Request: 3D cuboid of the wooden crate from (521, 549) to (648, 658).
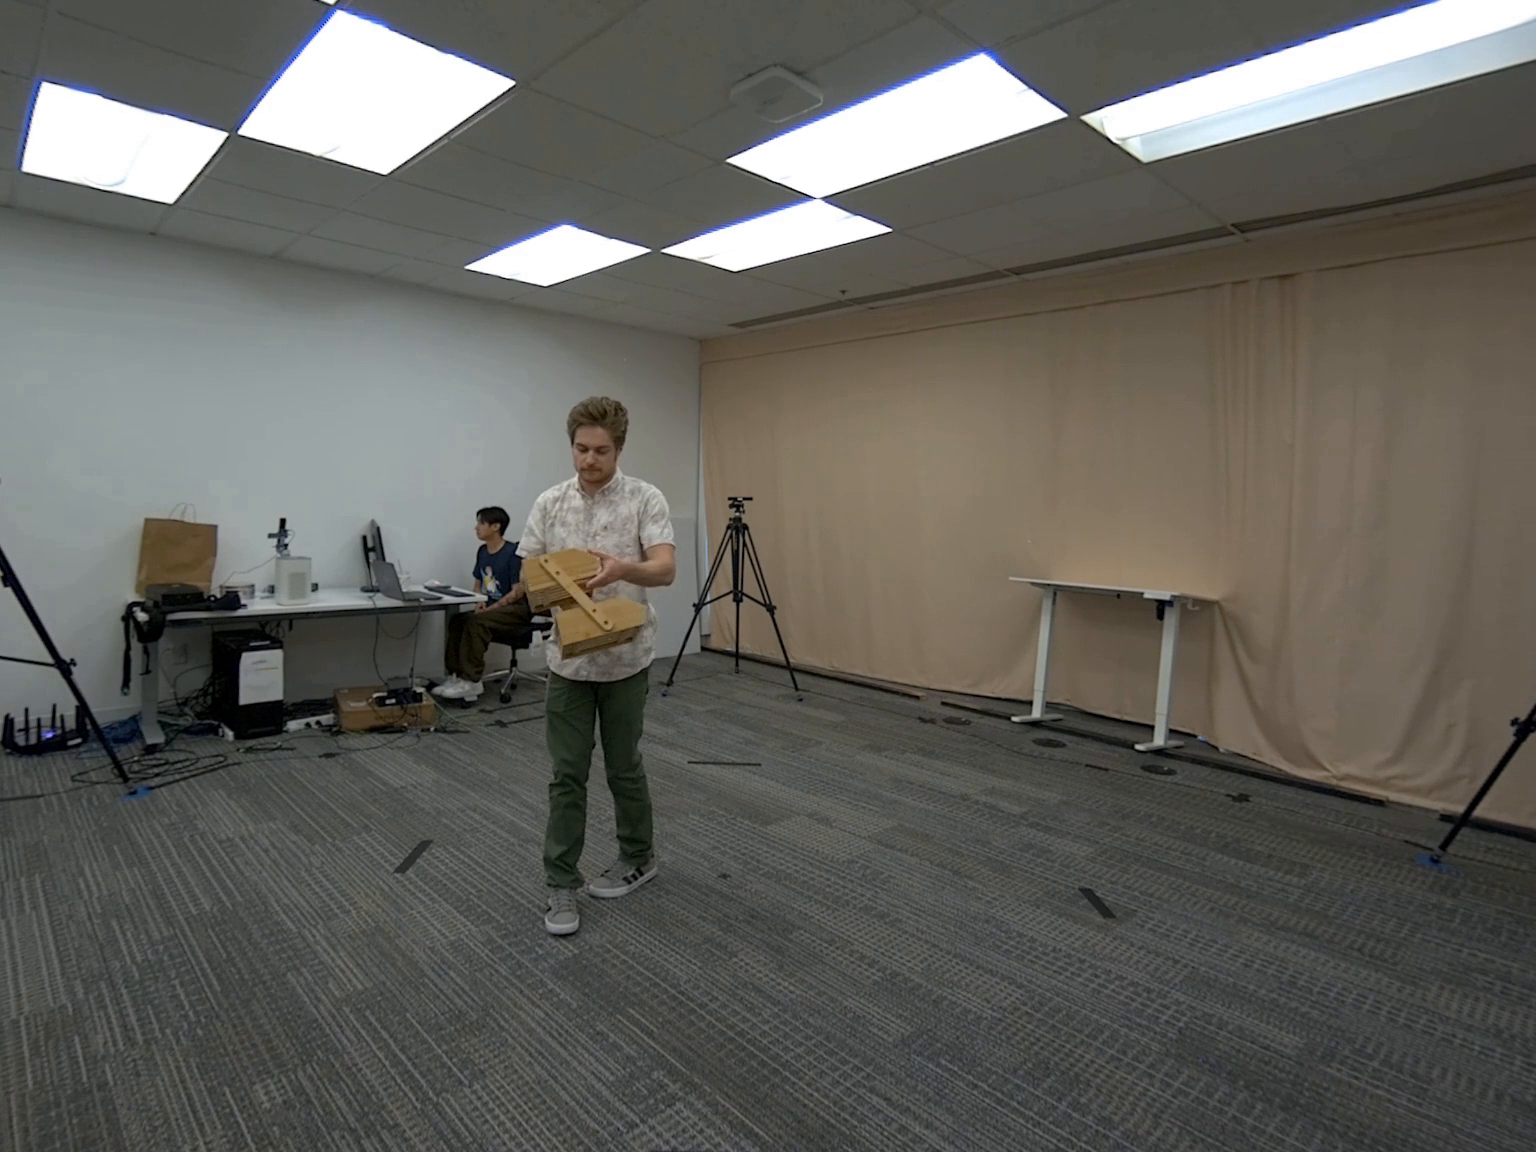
[{"bbox_3d":[-0.561,0.078,2.470,0.299,0.276,0.324,-15,-10,-18],"label":"wooden crate"}]
